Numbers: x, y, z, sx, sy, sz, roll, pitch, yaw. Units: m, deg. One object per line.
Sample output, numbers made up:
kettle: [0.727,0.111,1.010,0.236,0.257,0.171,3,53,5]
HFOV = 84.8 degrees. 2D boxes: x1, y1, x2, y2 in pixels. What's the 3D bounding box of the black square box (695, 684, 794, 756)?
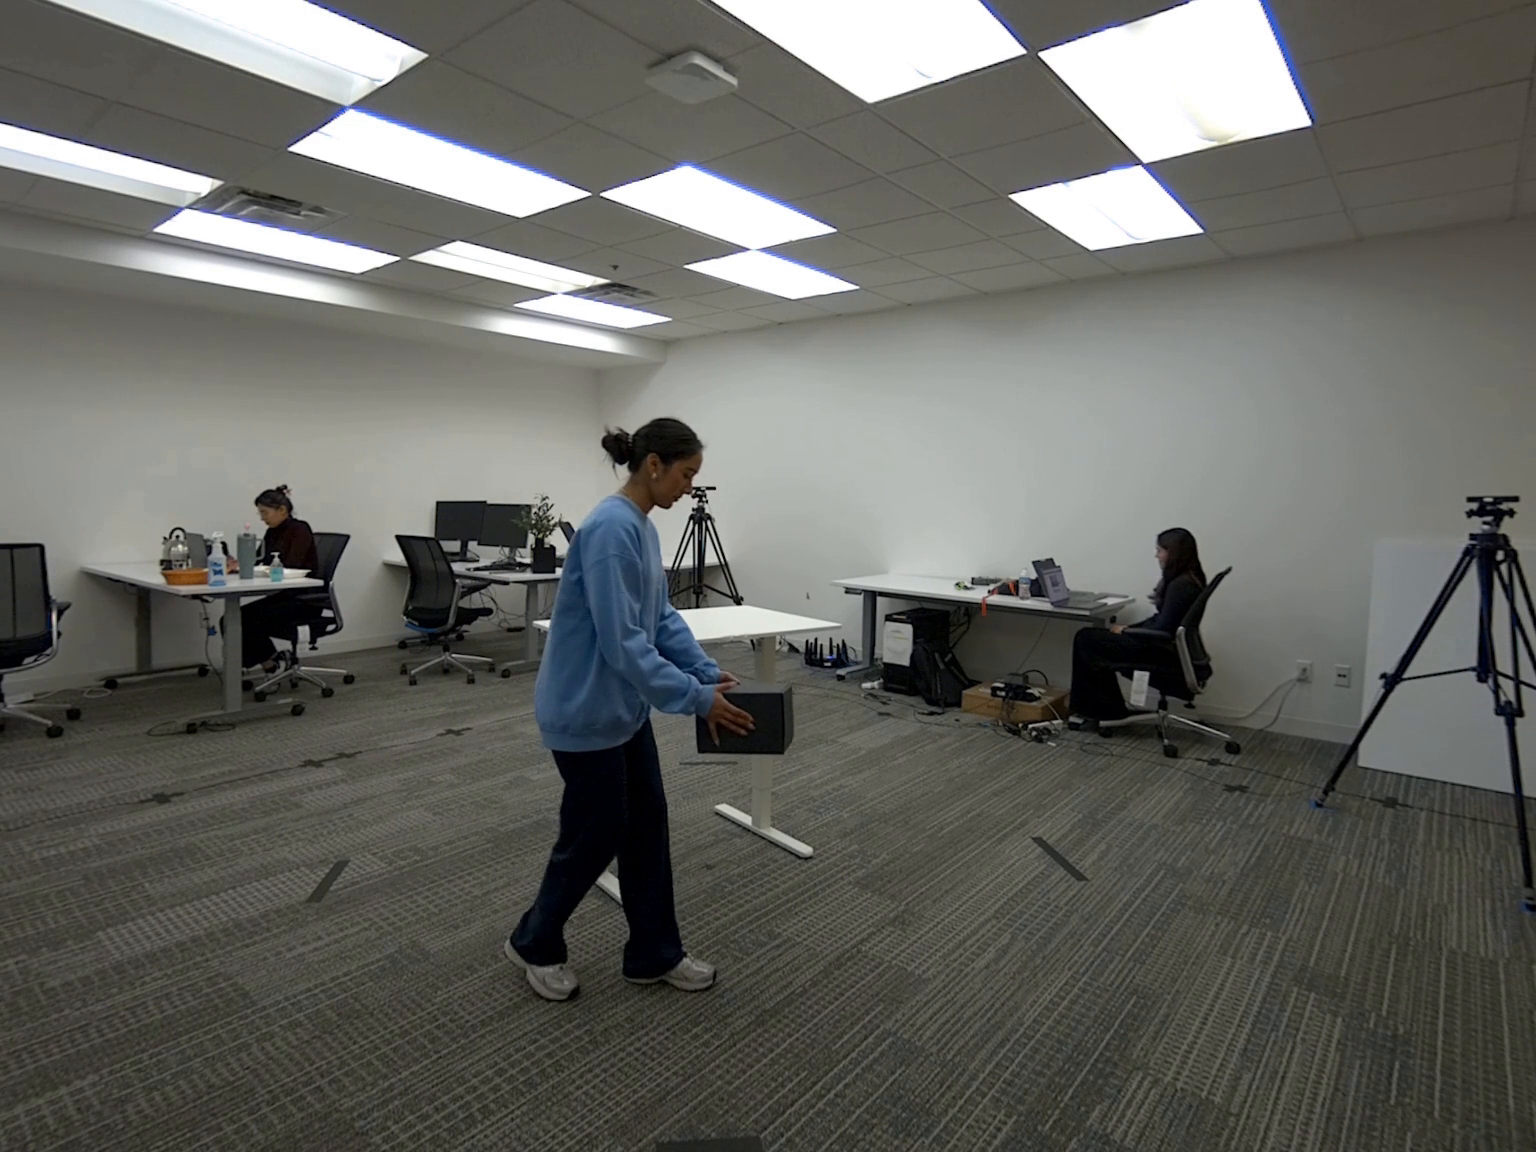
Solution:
black square box: [-0.069,0.379,2.266,0.230,0.156,0.214,-1,-1,9]
